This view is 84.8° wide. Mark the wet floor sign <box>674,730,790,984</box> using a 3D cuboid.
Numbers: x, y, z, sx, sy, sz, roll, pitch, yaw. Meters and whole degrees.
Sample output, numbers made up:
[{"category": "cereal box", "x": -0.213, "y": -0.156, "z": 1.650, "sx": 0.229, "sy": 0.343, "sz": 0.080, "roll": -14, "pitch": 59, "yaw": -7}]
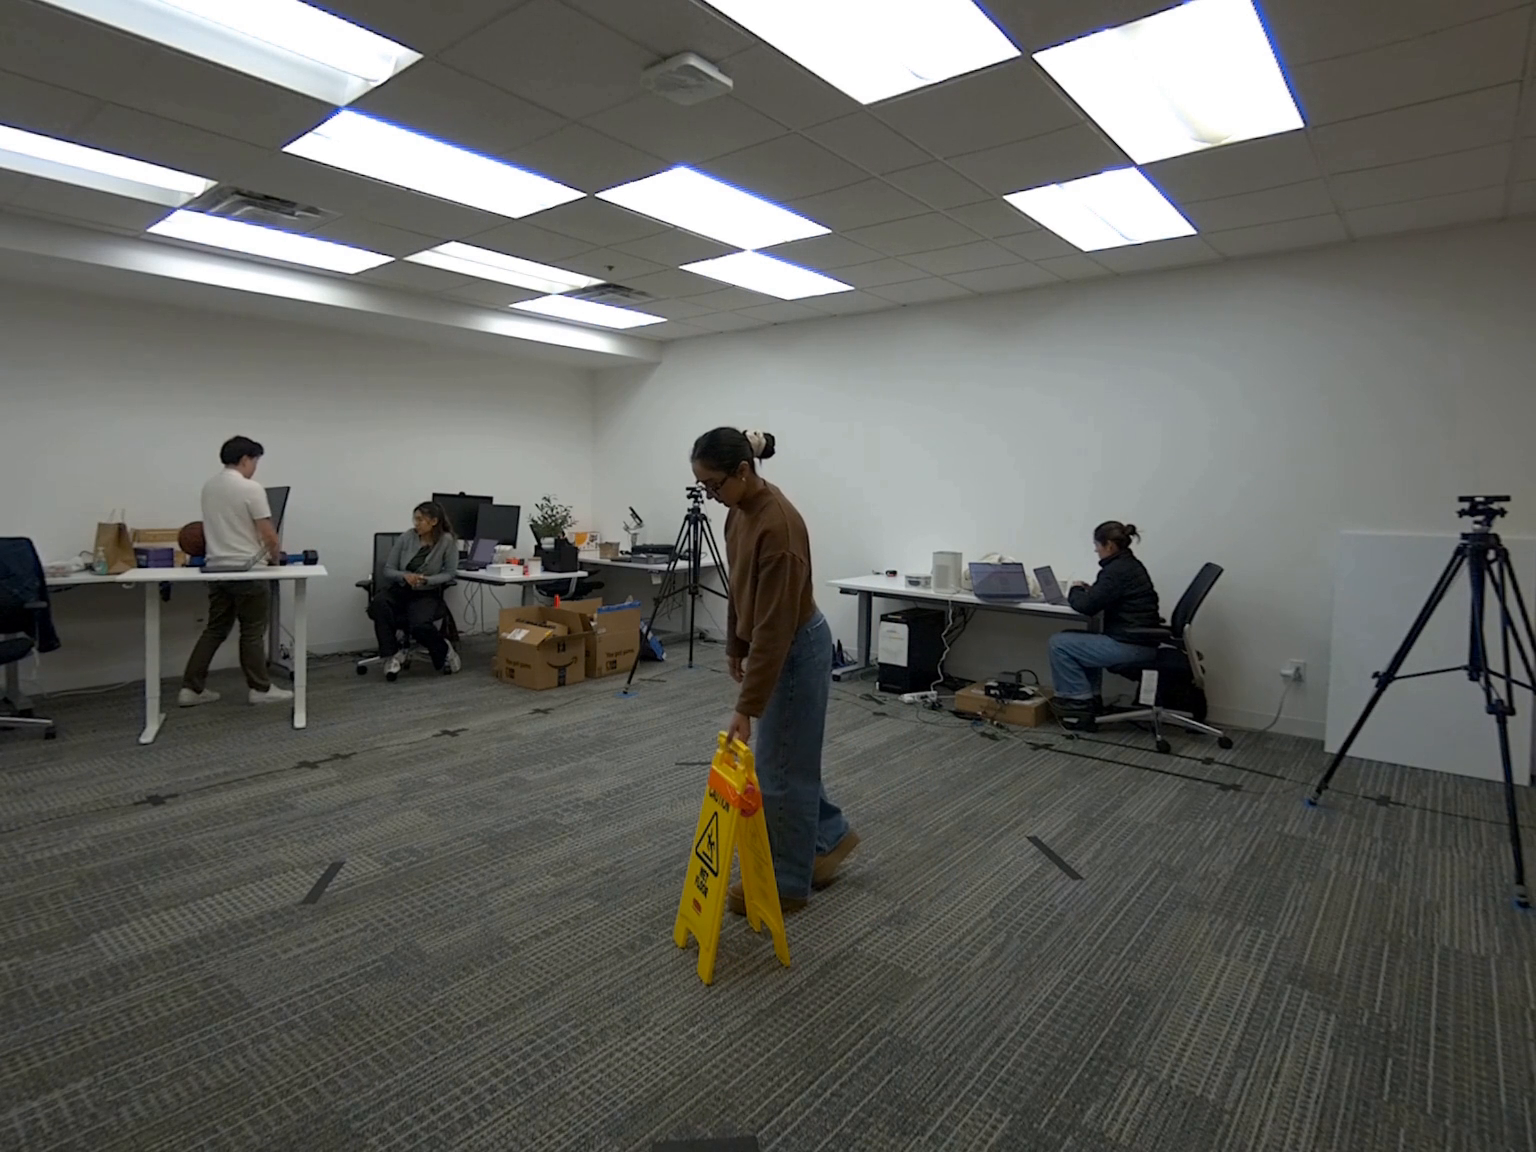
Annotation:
[{"category": "wet floor sign", "x": -0.112, "y": 0.798, "z": 2.530, "sx": 0.283, "sy": 0.644, "sz": 0.290, "roll": 0, "pitch": 4, "yaw": -25}]
